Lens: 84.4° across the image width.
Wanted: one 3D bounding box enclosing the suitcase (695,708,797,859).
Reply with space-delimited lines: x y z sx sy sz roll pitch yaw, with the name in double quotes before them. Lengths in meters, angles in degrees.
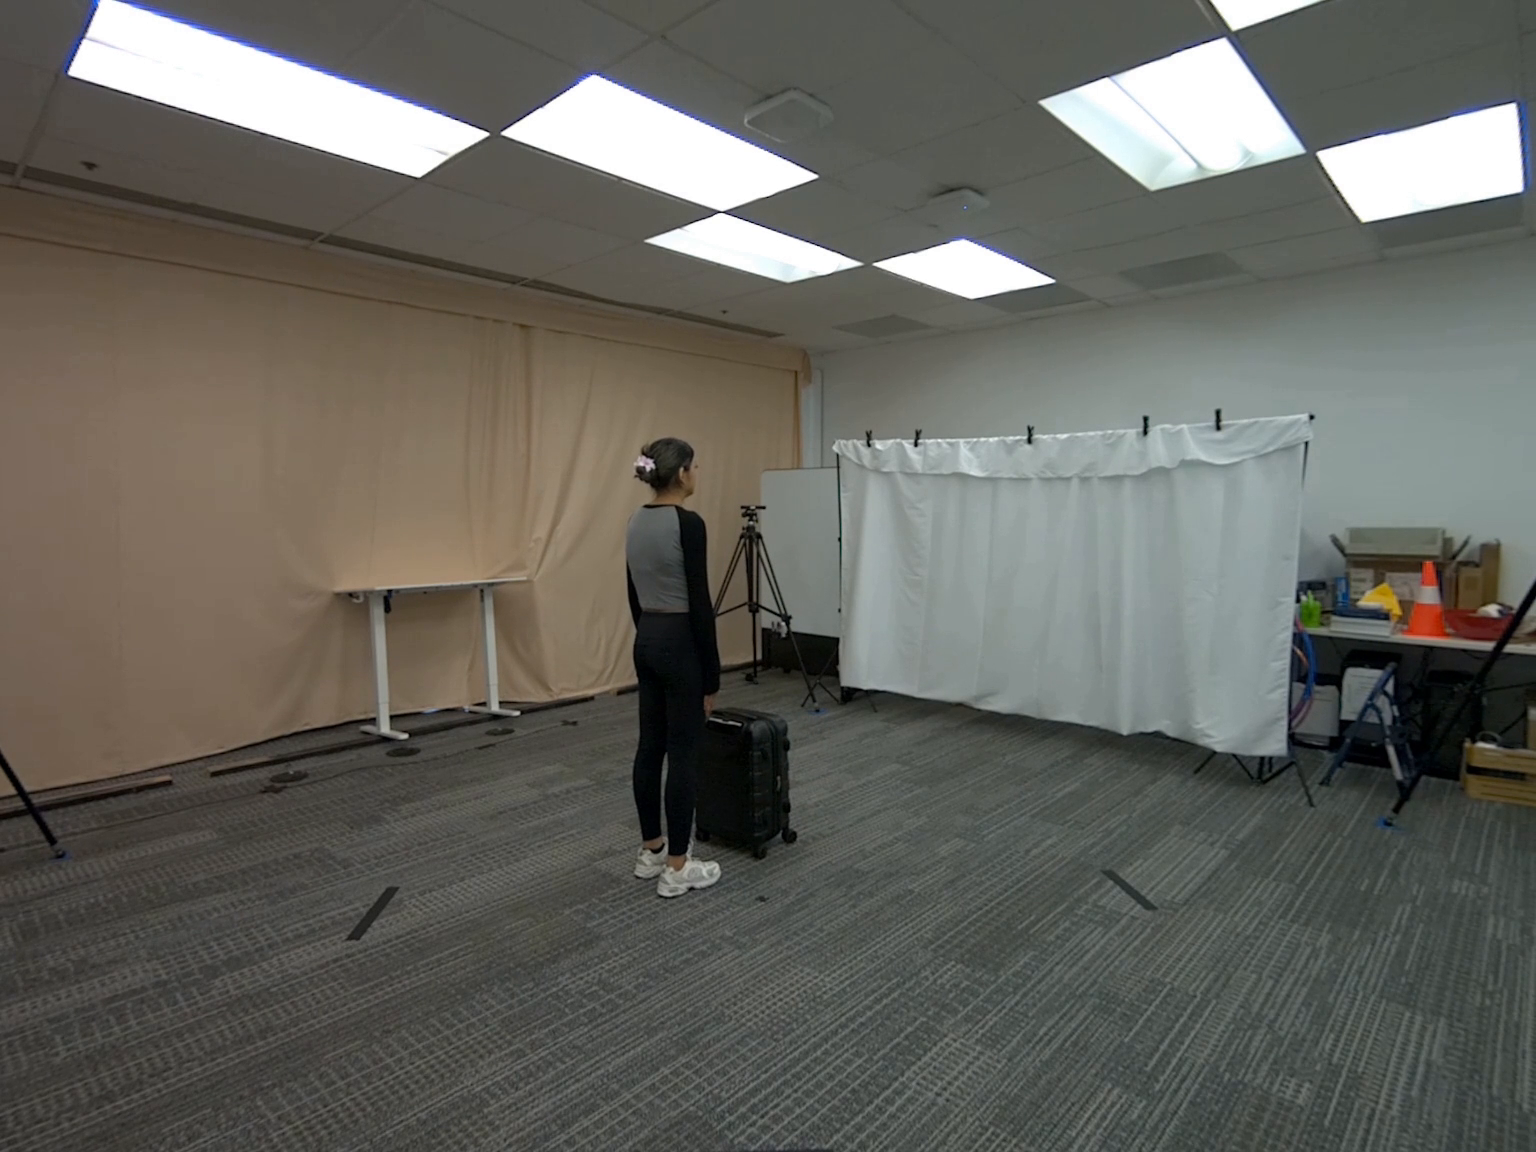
"suitcase" -0.104 0.826 3.477 0.387 0.548 0.241 2 5 38
